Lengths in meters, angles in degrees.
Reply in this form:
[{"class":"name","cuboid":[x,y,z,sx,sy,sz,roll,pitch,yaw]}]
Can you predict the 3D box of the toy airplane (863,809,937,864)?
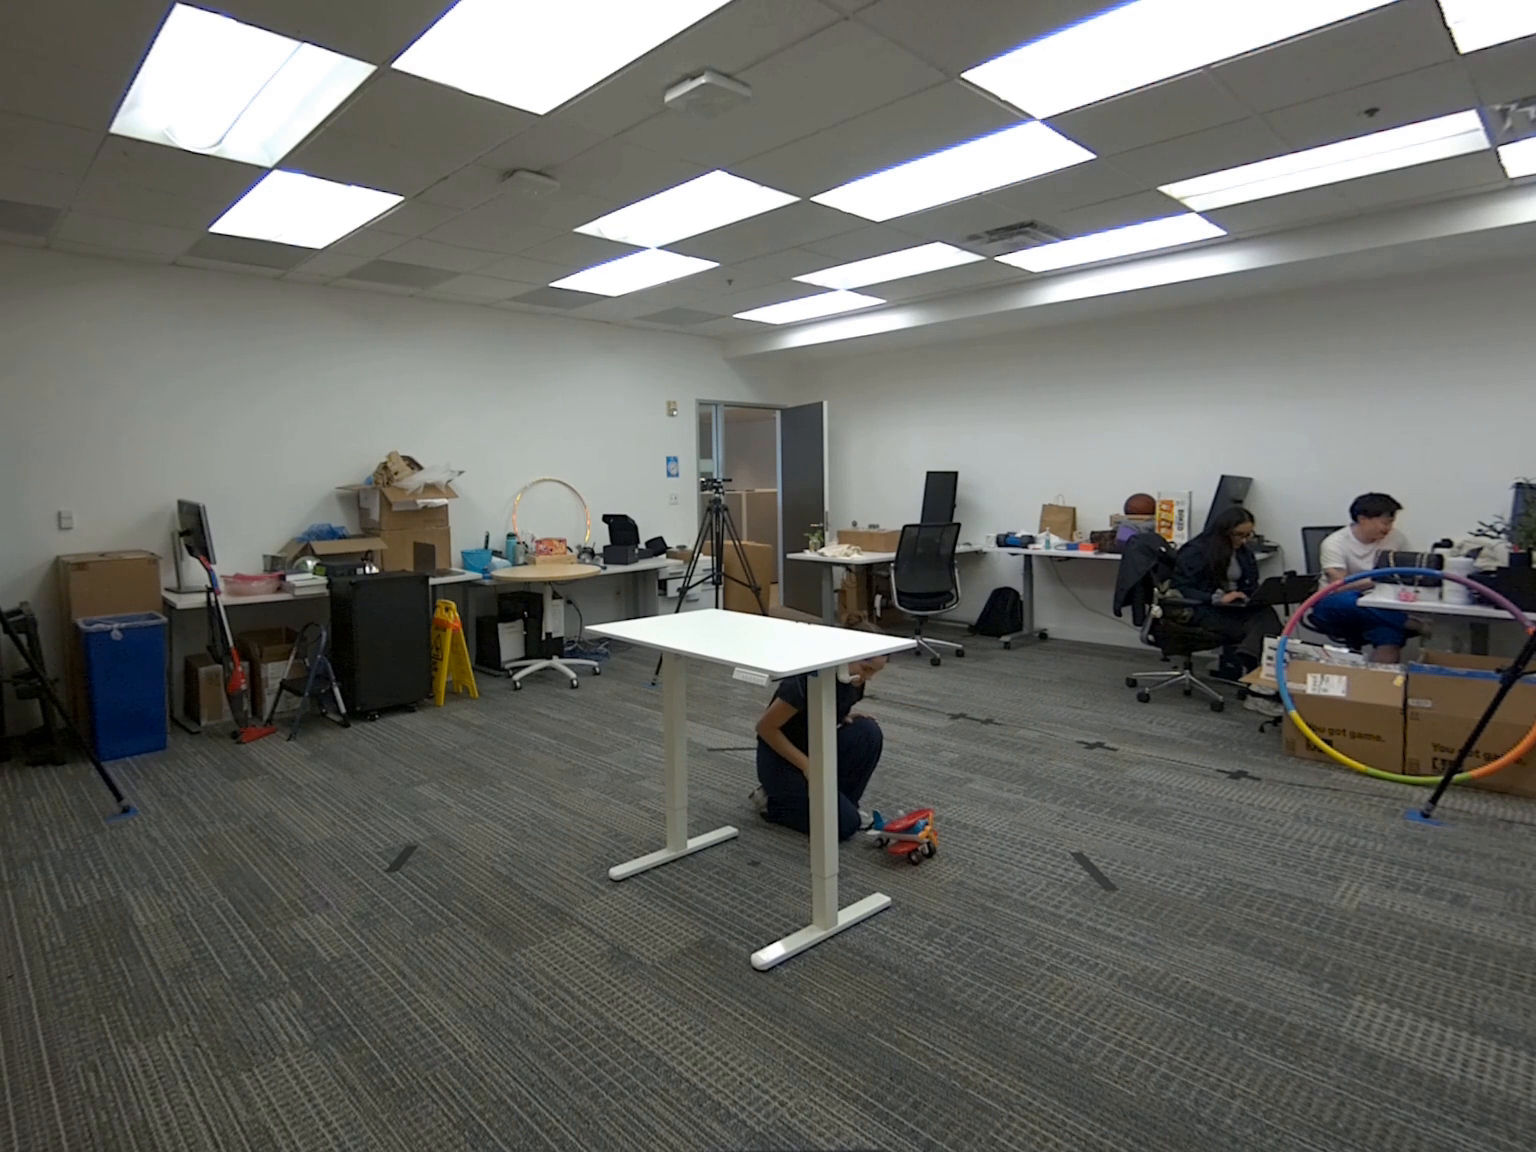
[{"class":"toy airplane","cuboid":[0.487,0.953,3.159,0.264,0.155,0.248,2,7,17]}]
